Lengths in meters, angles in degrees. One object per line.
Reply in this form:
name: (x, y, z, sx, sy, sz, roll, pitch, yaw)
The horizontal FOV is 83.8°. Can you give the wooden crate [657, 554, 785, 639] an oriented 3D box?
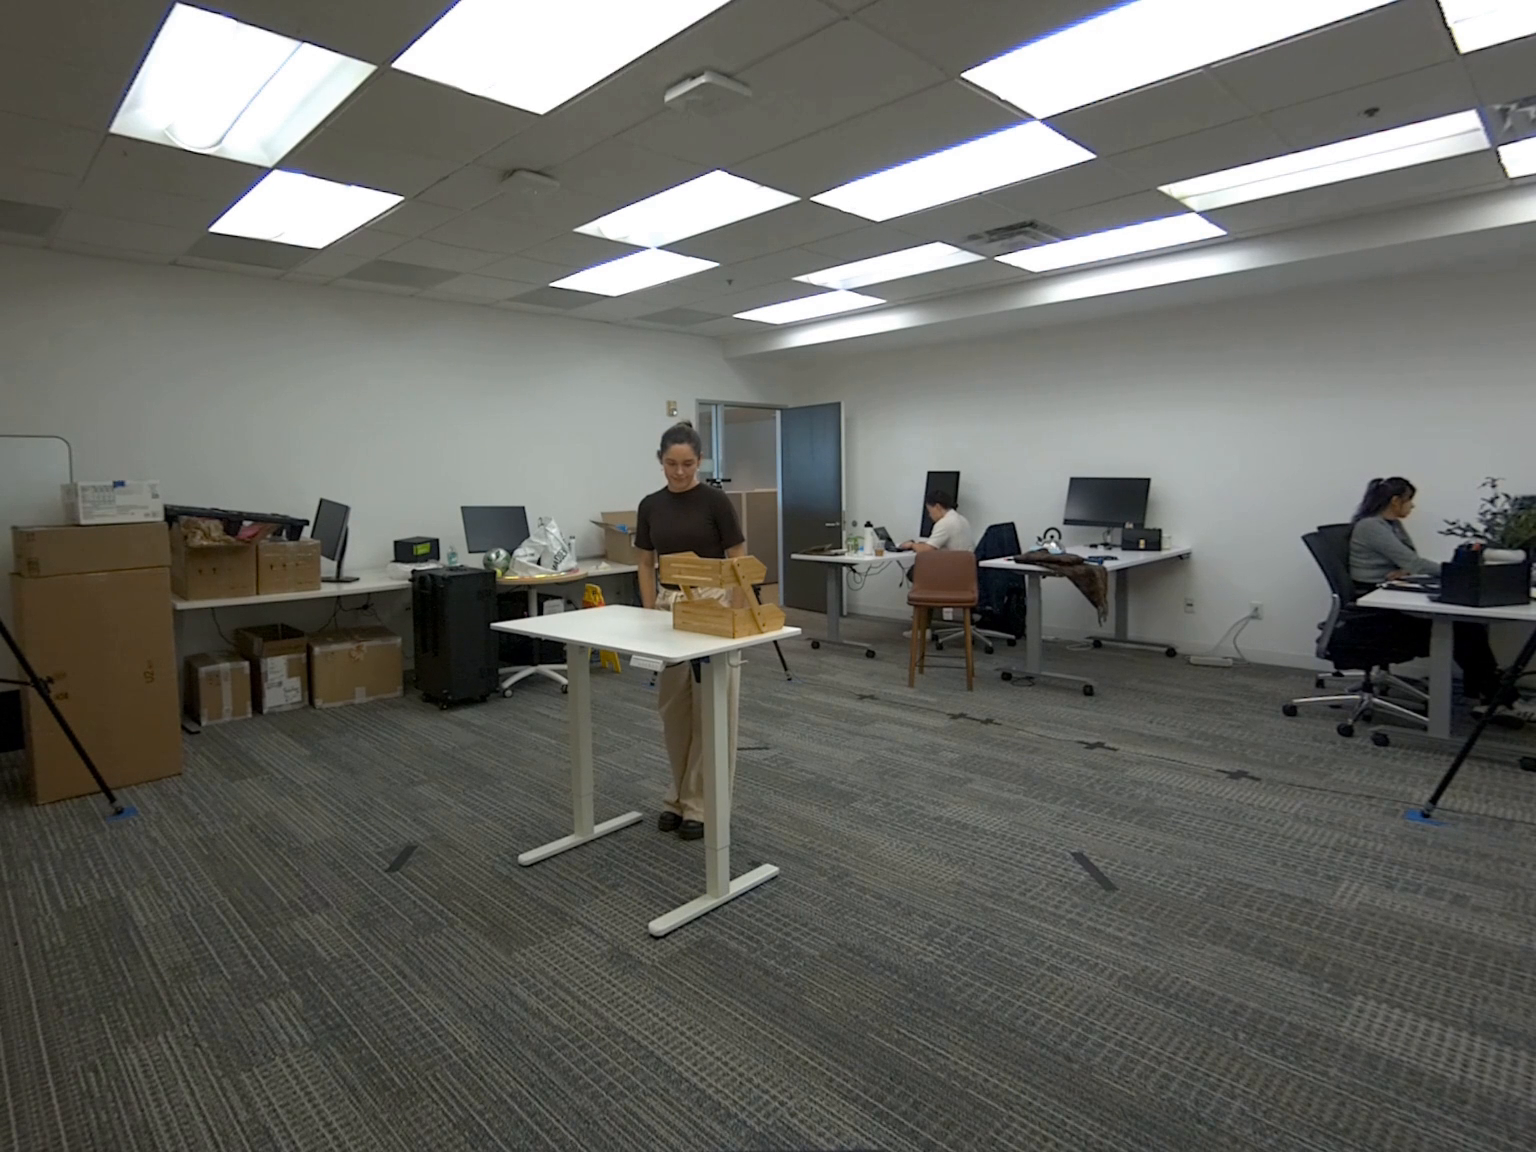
wooden crate: (-0.158, 0.054, 2.911, 0.334, 0.272, 0.294, 4, 8, 44)
